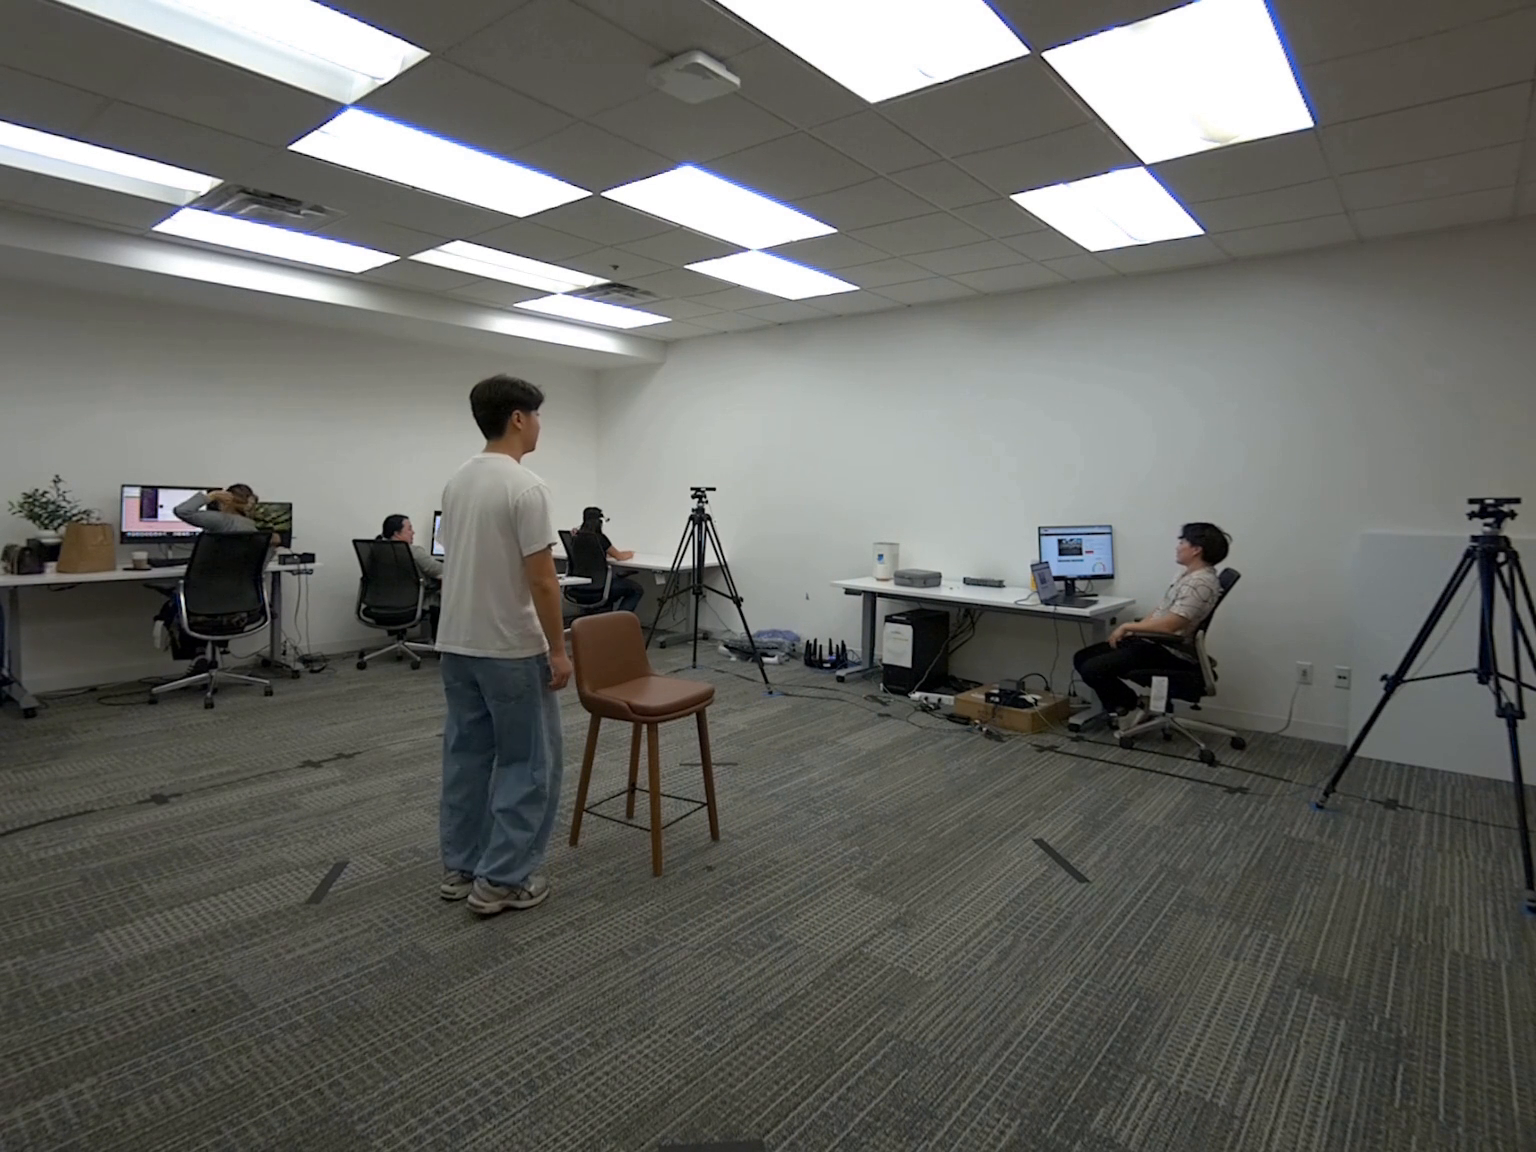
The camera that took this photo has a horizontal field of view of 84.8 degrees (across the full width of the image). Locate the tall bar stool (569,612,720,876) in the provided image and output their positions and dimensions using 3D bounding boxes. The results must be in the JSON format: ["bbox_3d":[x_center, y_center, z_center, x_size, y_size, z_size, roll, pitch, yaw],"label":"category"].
[{"bbox_3d":[-0.489,0.607,3.312,0.481,0.888,0.444,1,2,31],"label":"tall bar stool"}]
